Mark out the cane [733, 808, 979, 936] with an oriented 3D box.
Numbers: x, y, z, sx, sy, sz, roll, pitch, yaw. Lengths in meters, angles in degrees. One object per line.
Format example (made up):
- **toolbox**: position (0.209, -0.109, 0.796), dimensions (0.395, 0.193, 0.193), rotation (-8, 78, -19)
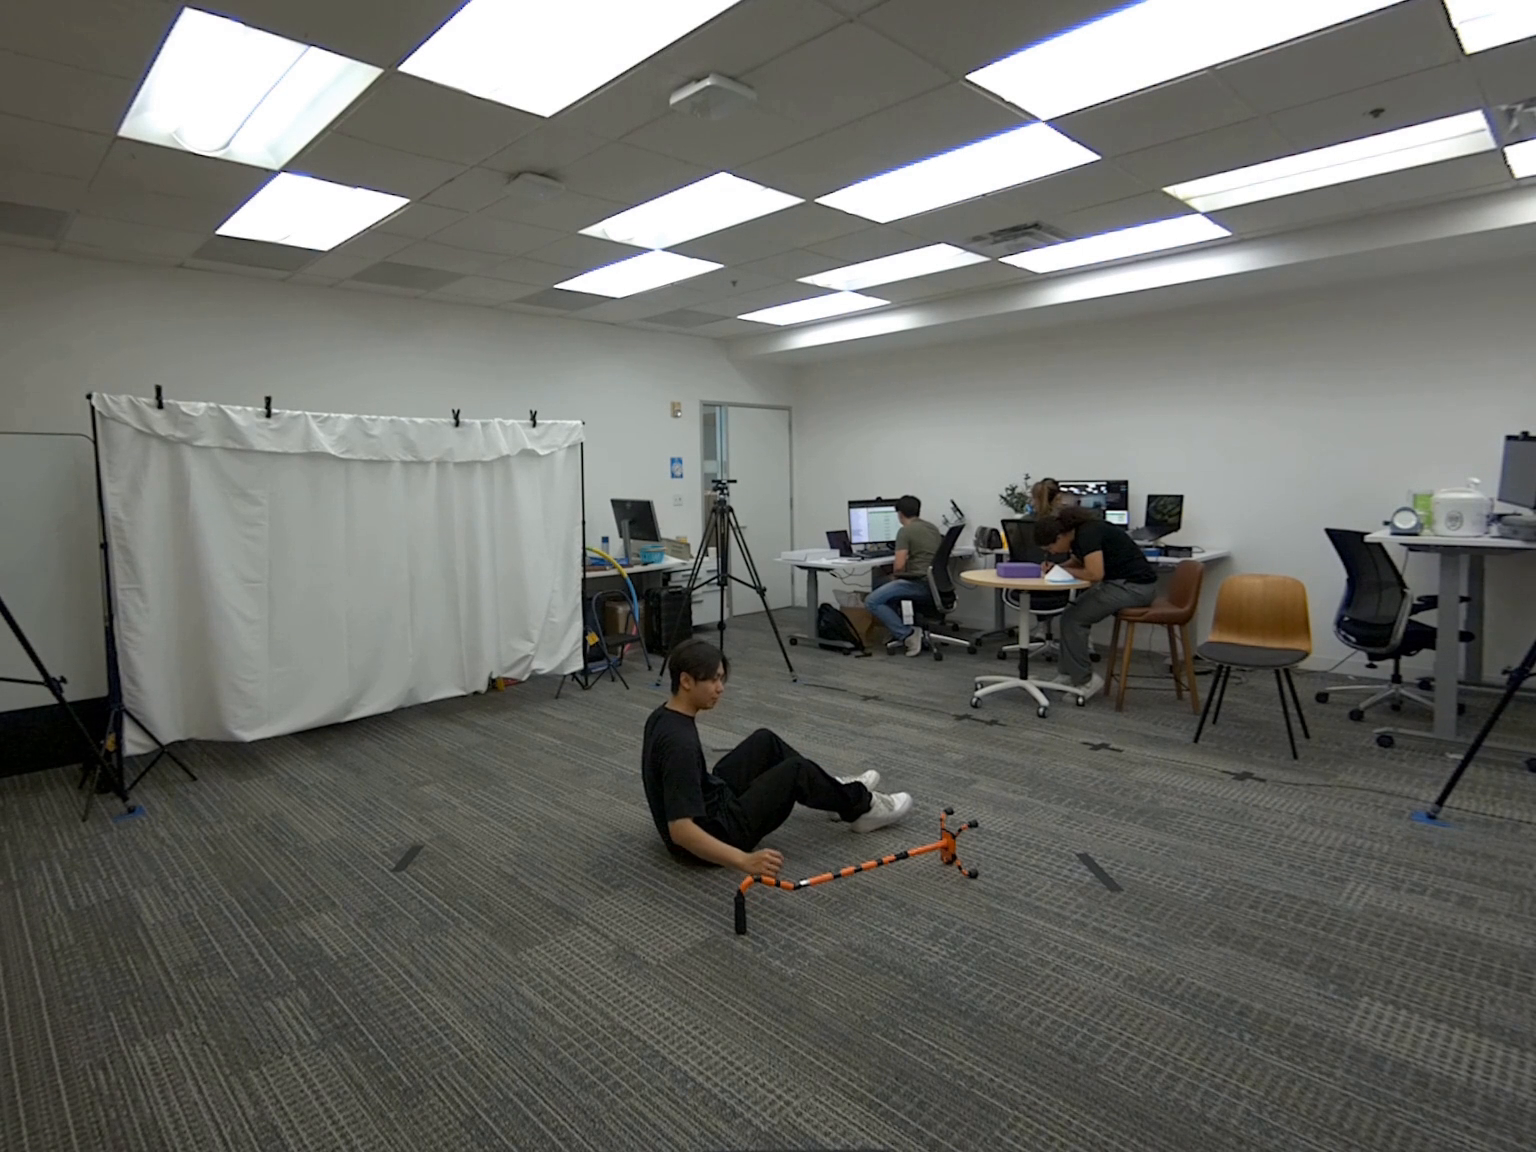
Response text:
- **cane**: position (0.302, 0.960, 2.821), dimensions (0.888, 0.205, 0.156), rotation (-5, 7, -27)
